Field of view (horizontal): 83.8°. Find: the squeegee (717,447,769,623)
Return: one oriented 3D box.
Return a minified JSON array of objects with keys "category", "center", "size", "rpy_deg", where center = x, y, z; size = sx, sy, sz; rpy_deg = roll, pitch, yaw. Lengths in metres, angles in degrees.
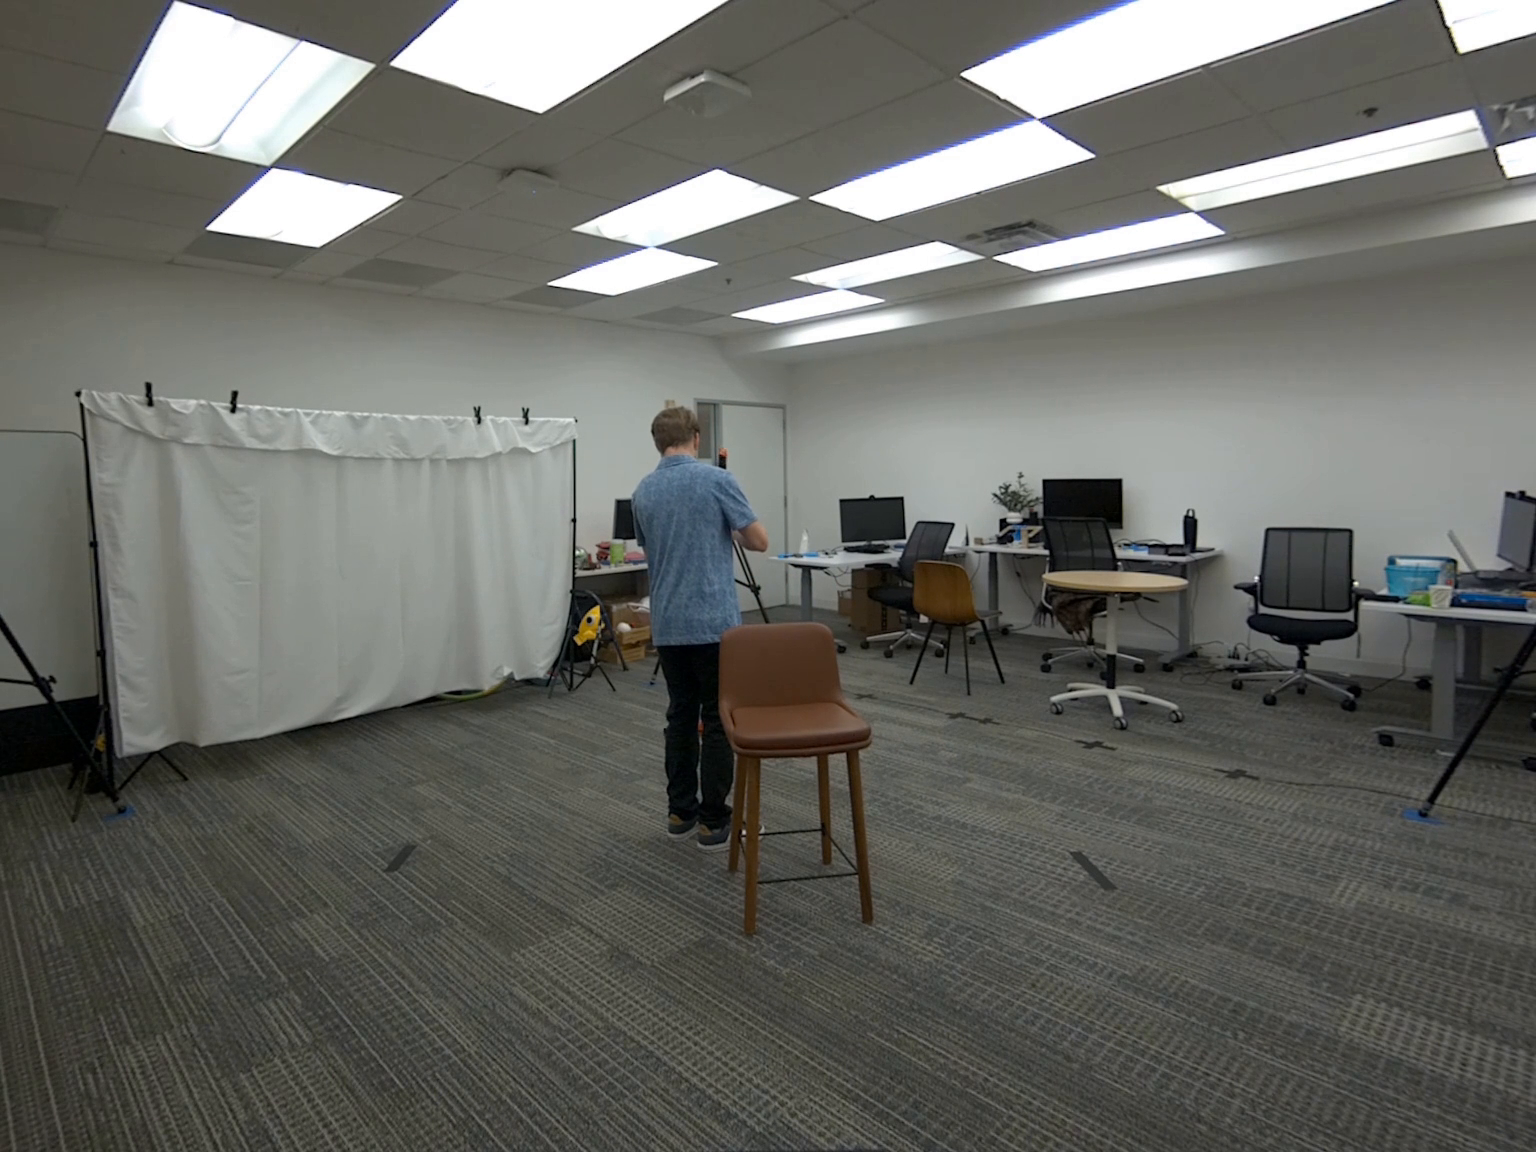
[{"category":"squeegee","center":[-0.218,0.157,3.812],"size":[0.434,1.508,0.054],"rpy_deg":[5,31,-9]}]
